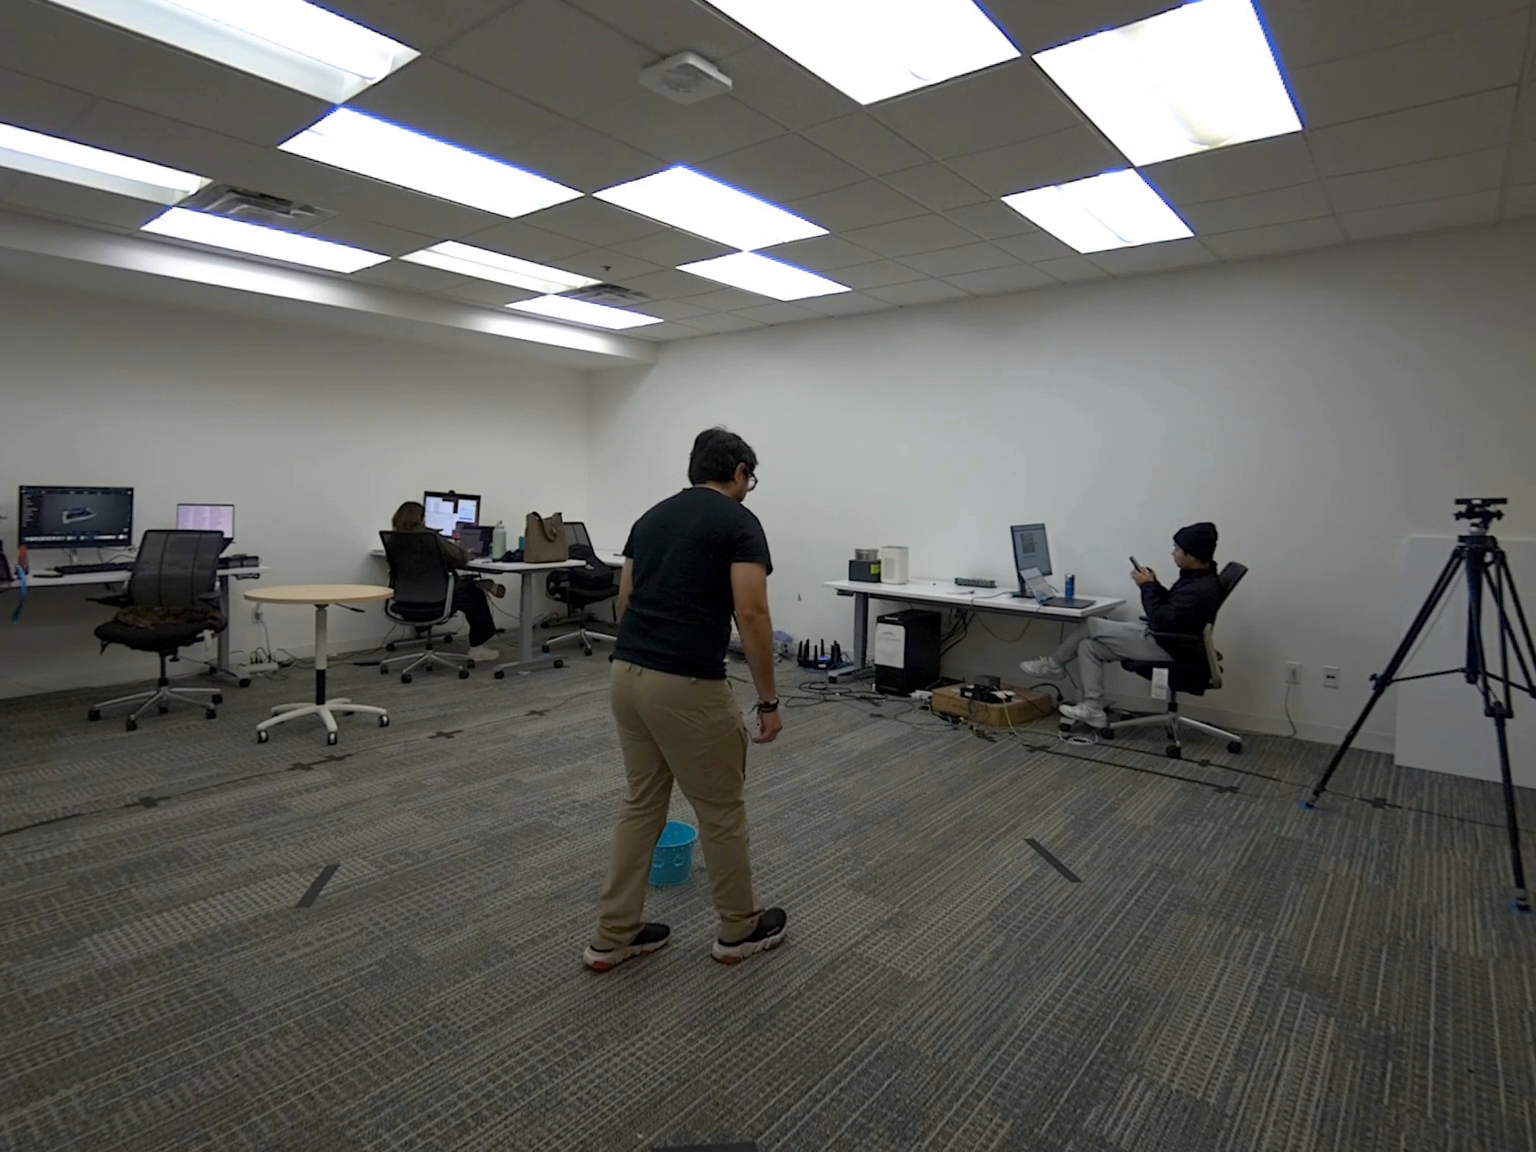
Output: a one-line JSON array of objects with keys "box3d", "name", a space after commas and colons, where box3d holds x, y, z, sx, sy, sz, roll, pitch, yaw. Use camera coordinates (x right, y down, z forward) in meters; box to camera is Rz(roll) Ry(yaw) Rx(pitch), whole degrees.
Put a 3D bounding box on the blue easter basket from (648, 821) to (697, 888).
[{"box3d": [-0.372, 0.992, 3.066, 0.243, 0.155, 0.245, 0, 5, -2], "name": "blue easter basket"}]
